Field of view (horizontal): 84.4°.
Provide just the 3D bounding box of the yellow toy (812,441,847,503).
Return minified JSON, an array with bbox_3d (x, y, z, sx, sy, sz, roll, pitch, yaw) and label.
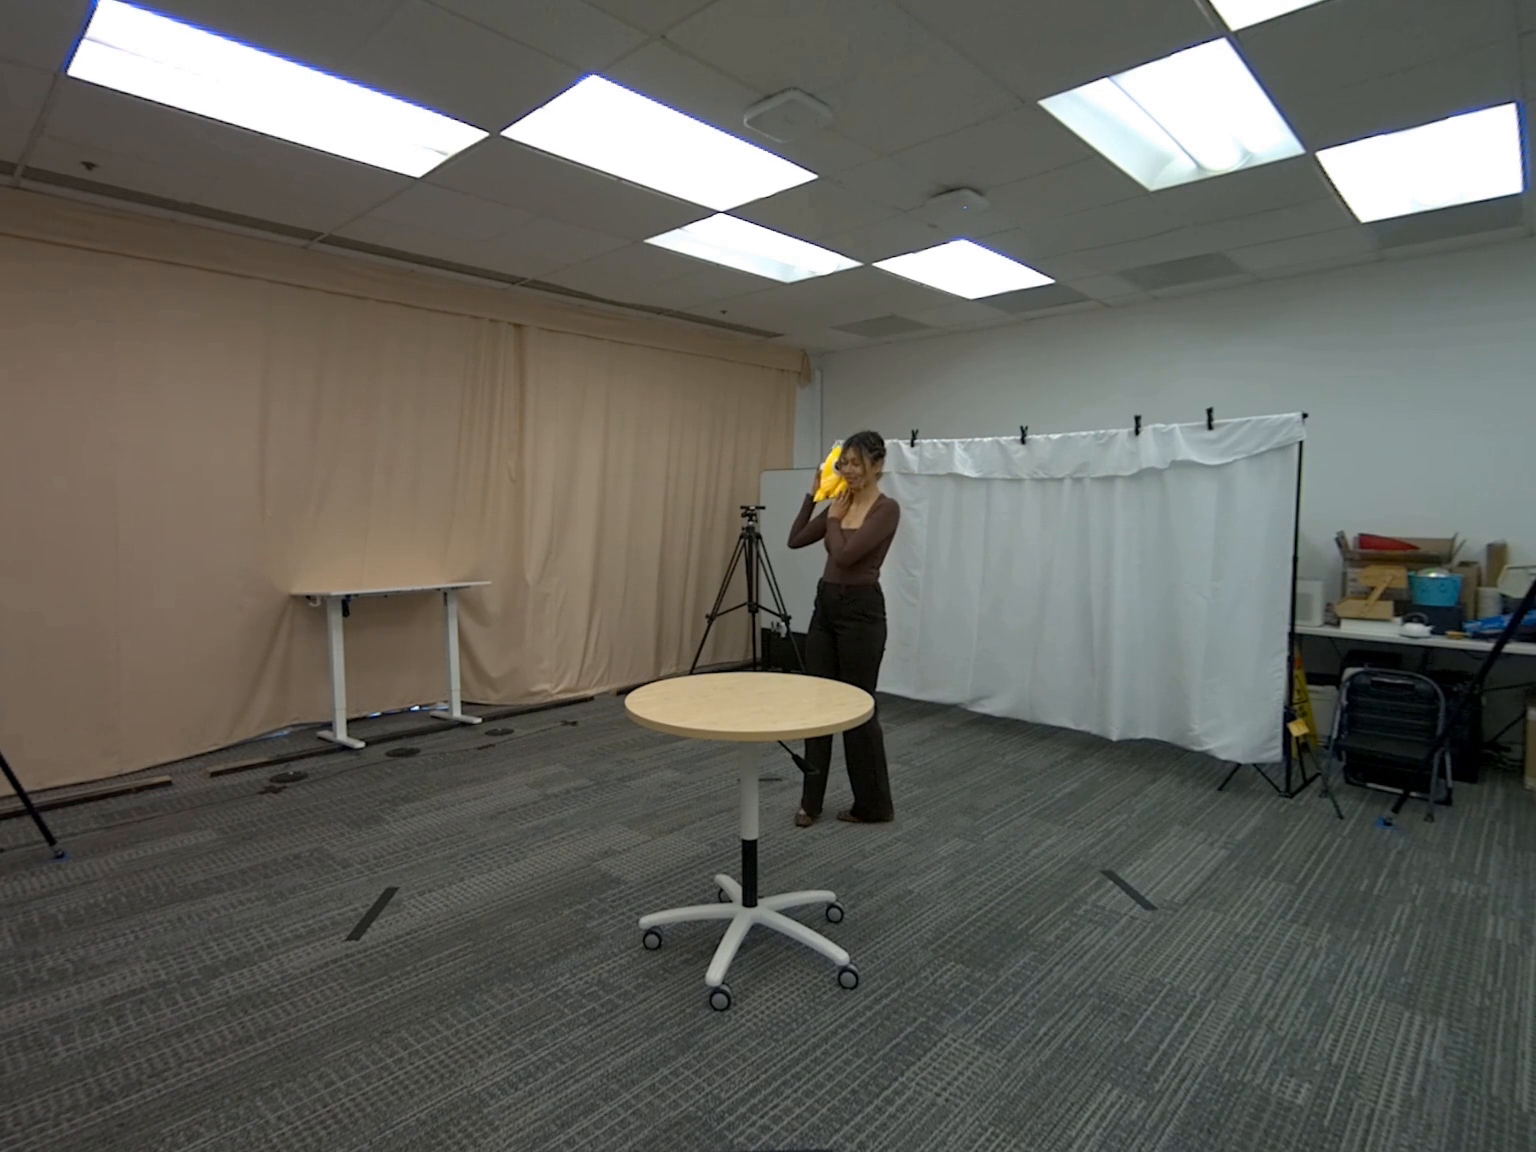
[{"bbox_3d":[0.297,-0.471,3.803,0.188,0.230,0.210,-12,2,-35],"label":"yellow toy"}]
